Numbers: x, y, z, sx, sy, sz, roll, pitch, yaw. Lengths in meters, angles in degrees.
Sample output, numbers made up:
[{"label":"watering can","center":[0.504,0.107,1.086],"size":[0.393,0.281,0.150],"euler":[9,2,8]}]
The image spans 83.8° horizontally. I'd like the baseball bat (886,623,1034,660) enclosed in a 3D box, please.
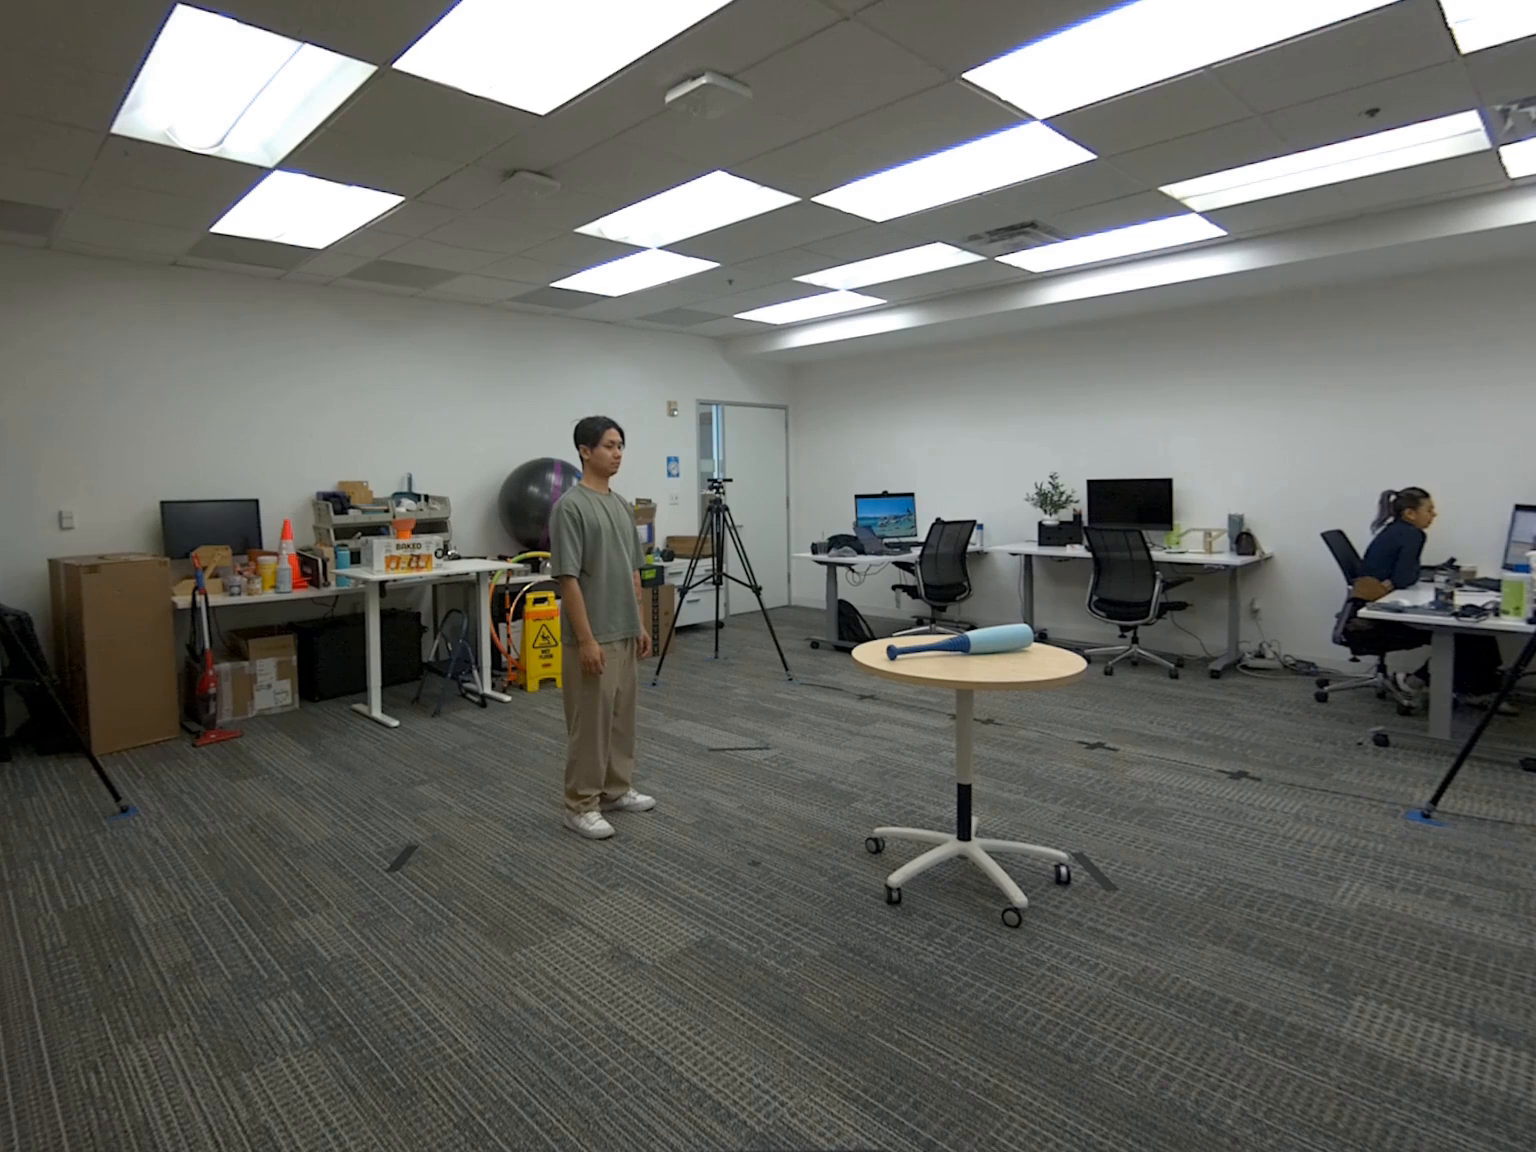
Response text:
[{"label":"baseball bat","center":[0.665,0.234,2.922],"size":[0.535,0.088,0.091],"euler":[-5,6,-16]}]
